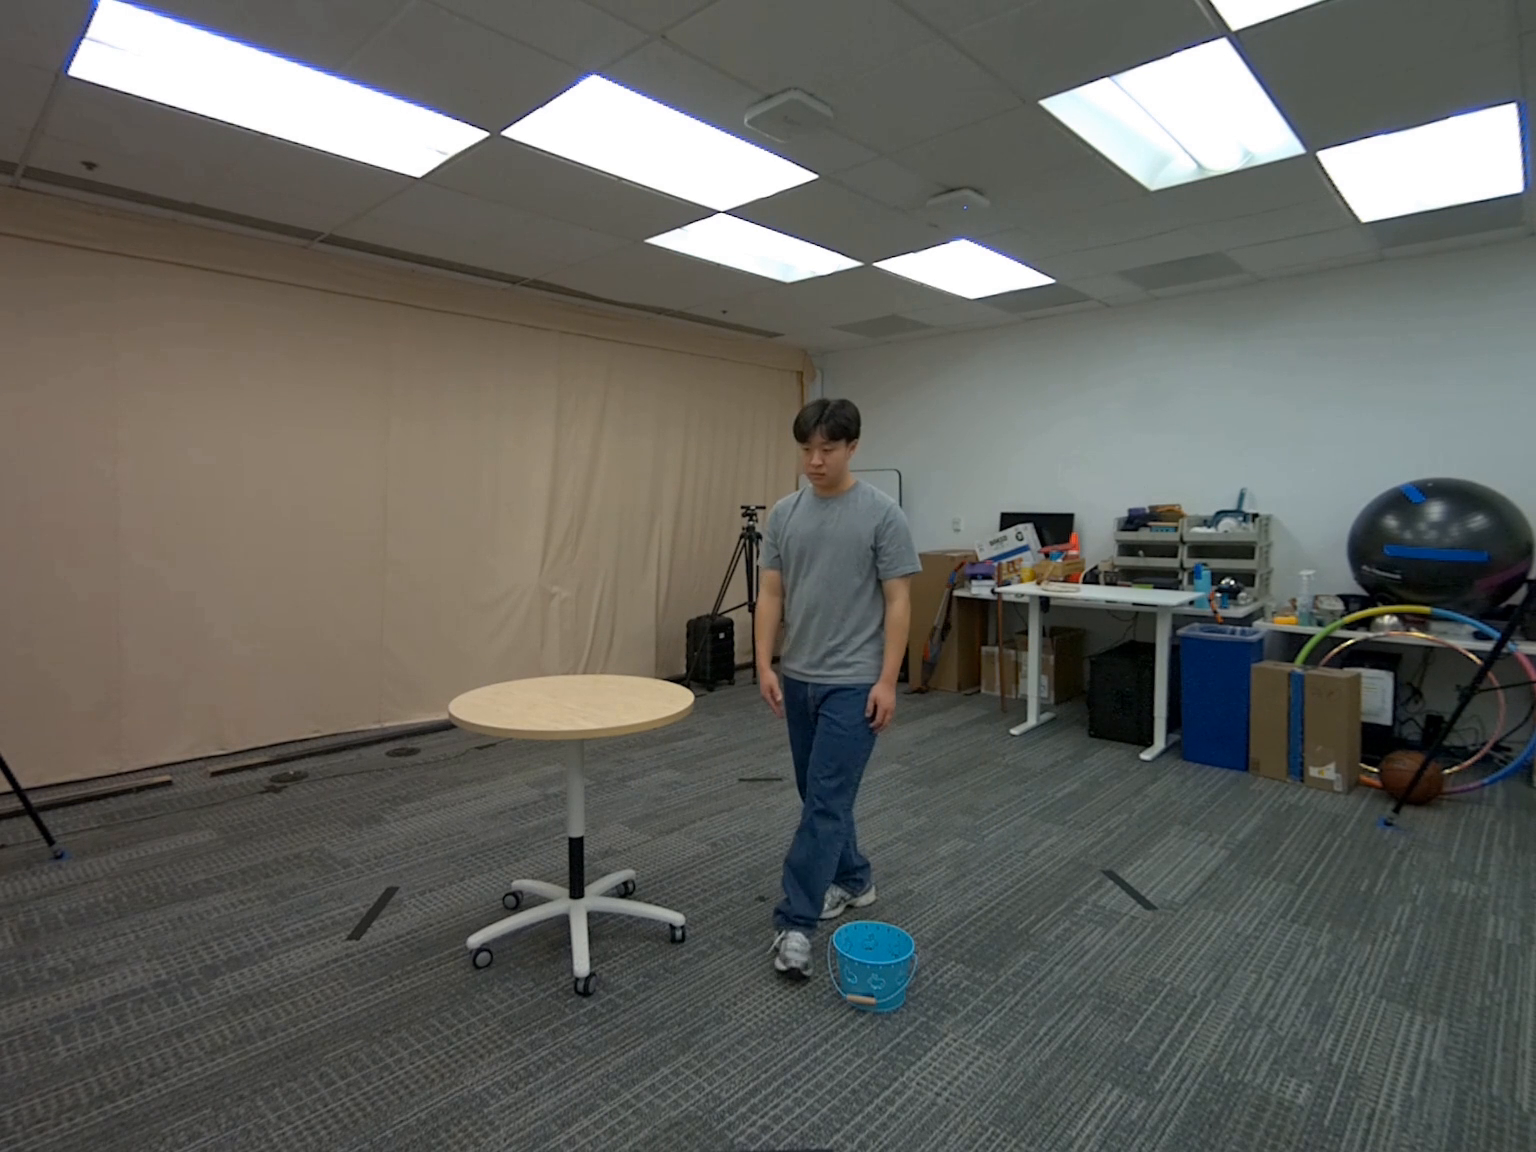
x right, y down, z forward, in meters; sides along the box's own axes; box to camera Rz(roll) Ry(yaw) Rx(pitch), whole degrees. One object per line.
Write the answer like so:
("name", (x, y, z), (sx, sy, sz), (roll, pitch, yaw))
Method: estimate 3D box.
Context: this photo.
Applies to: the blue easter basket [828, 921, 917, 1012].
("blue easter basket", (0.293, 1.110, 2.400), (0.243, 0.155, 0.244), (0, 4, -2))
